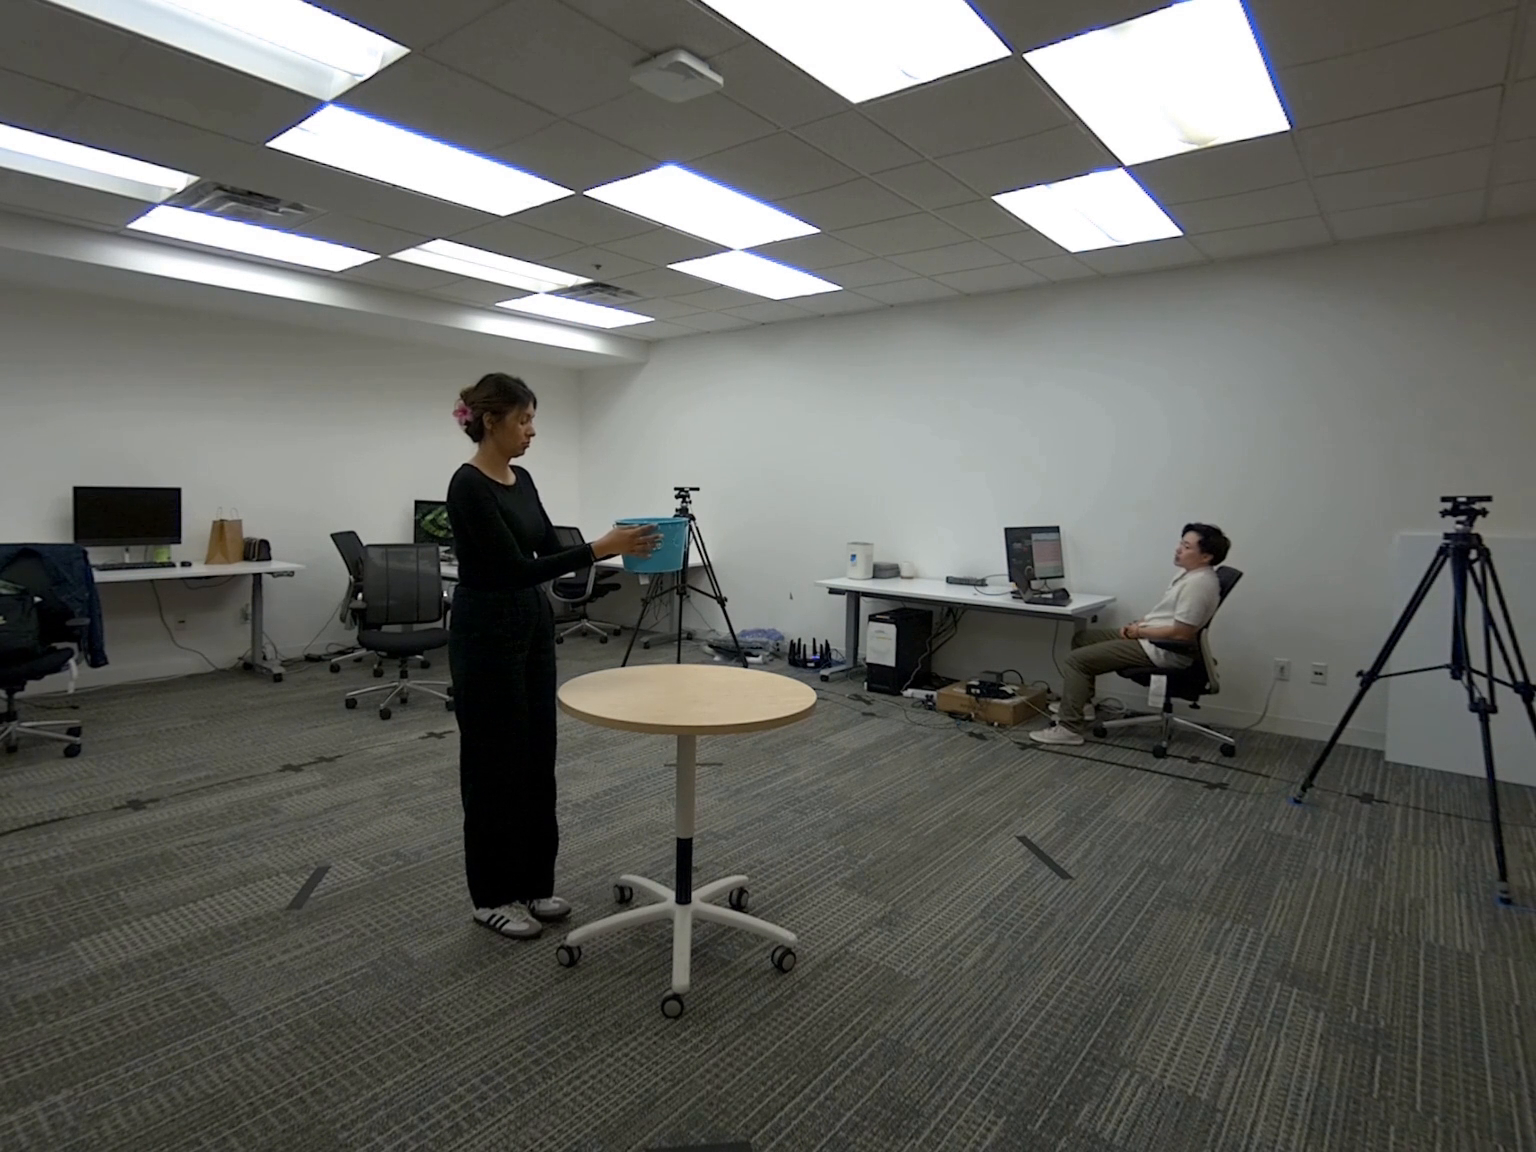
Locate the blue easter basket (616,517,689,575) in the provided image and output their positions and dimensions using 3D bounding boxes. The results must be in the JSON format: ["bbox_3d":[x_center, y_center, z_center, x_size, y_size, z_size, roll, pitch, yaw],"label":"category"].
[{"bbox_3d":[-0.372,-0.095,2.636,0.243,0.155,0.245,-2,7,-2],"label":"blue easter basket"}]
